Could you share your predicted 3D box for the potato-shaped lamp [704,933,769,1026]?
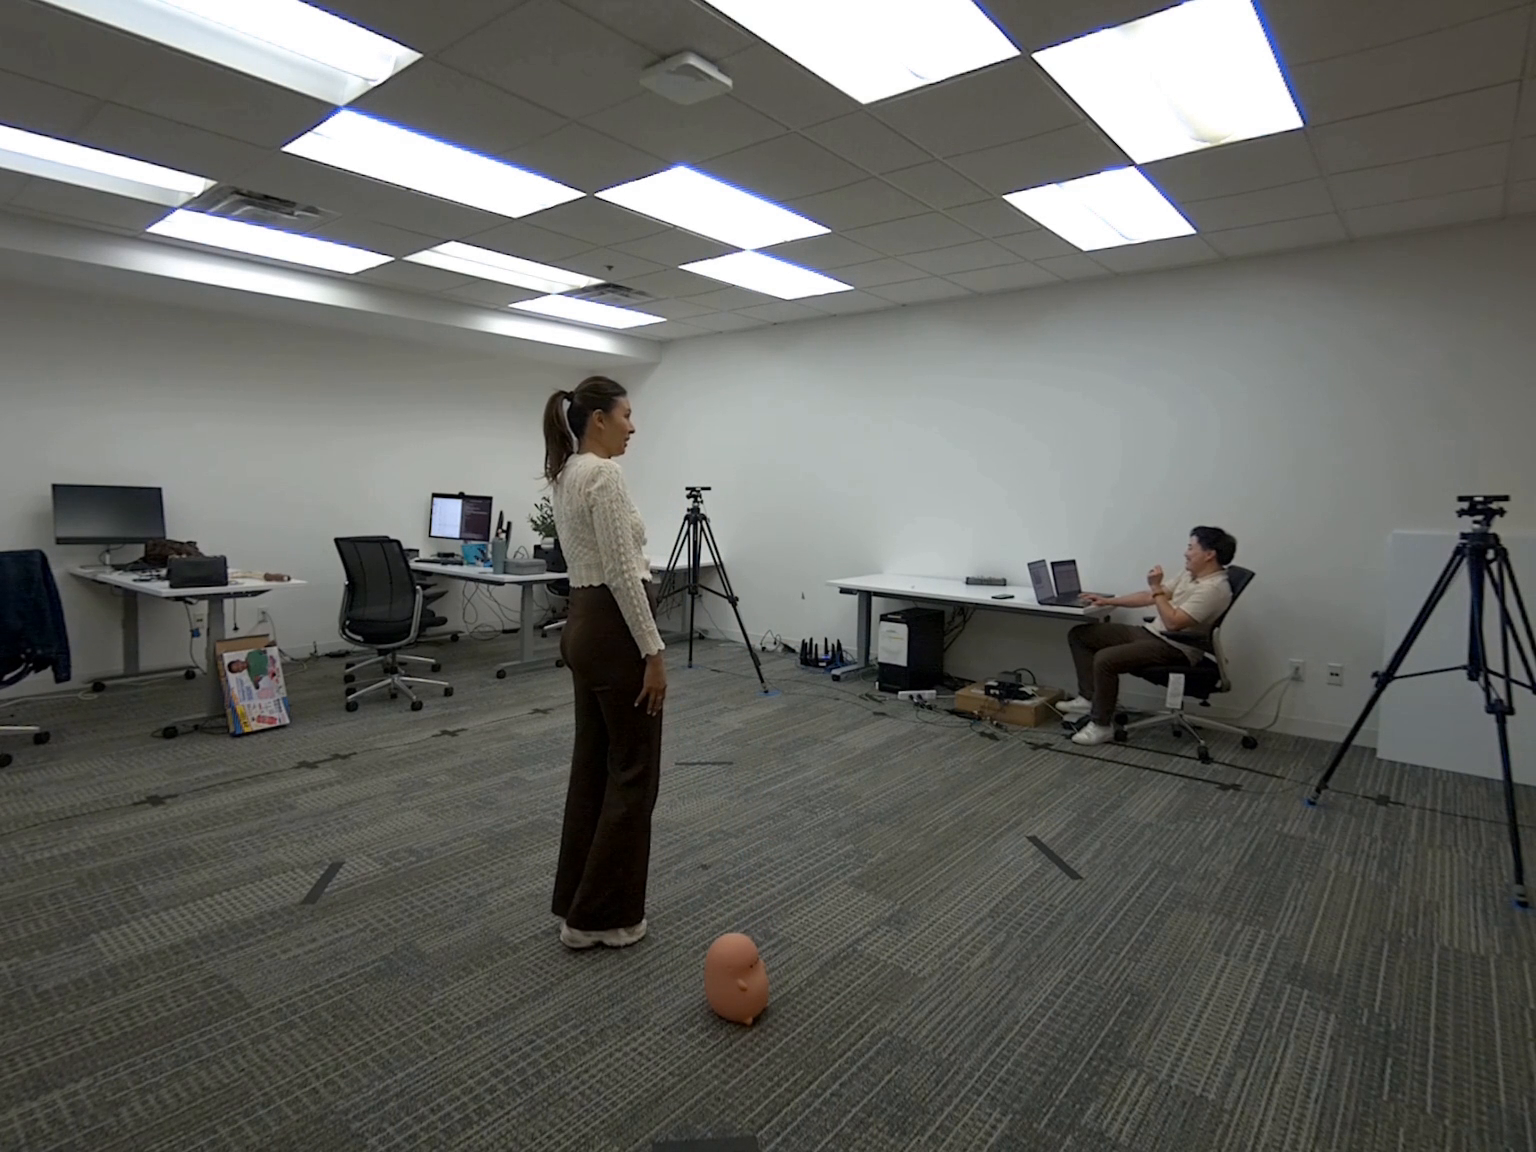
[{"bbox_3d":[-0.093,1.053,2.267,0.177,0.197,0.160,7,5,29],"label":"potato-shaped lamp"}]
